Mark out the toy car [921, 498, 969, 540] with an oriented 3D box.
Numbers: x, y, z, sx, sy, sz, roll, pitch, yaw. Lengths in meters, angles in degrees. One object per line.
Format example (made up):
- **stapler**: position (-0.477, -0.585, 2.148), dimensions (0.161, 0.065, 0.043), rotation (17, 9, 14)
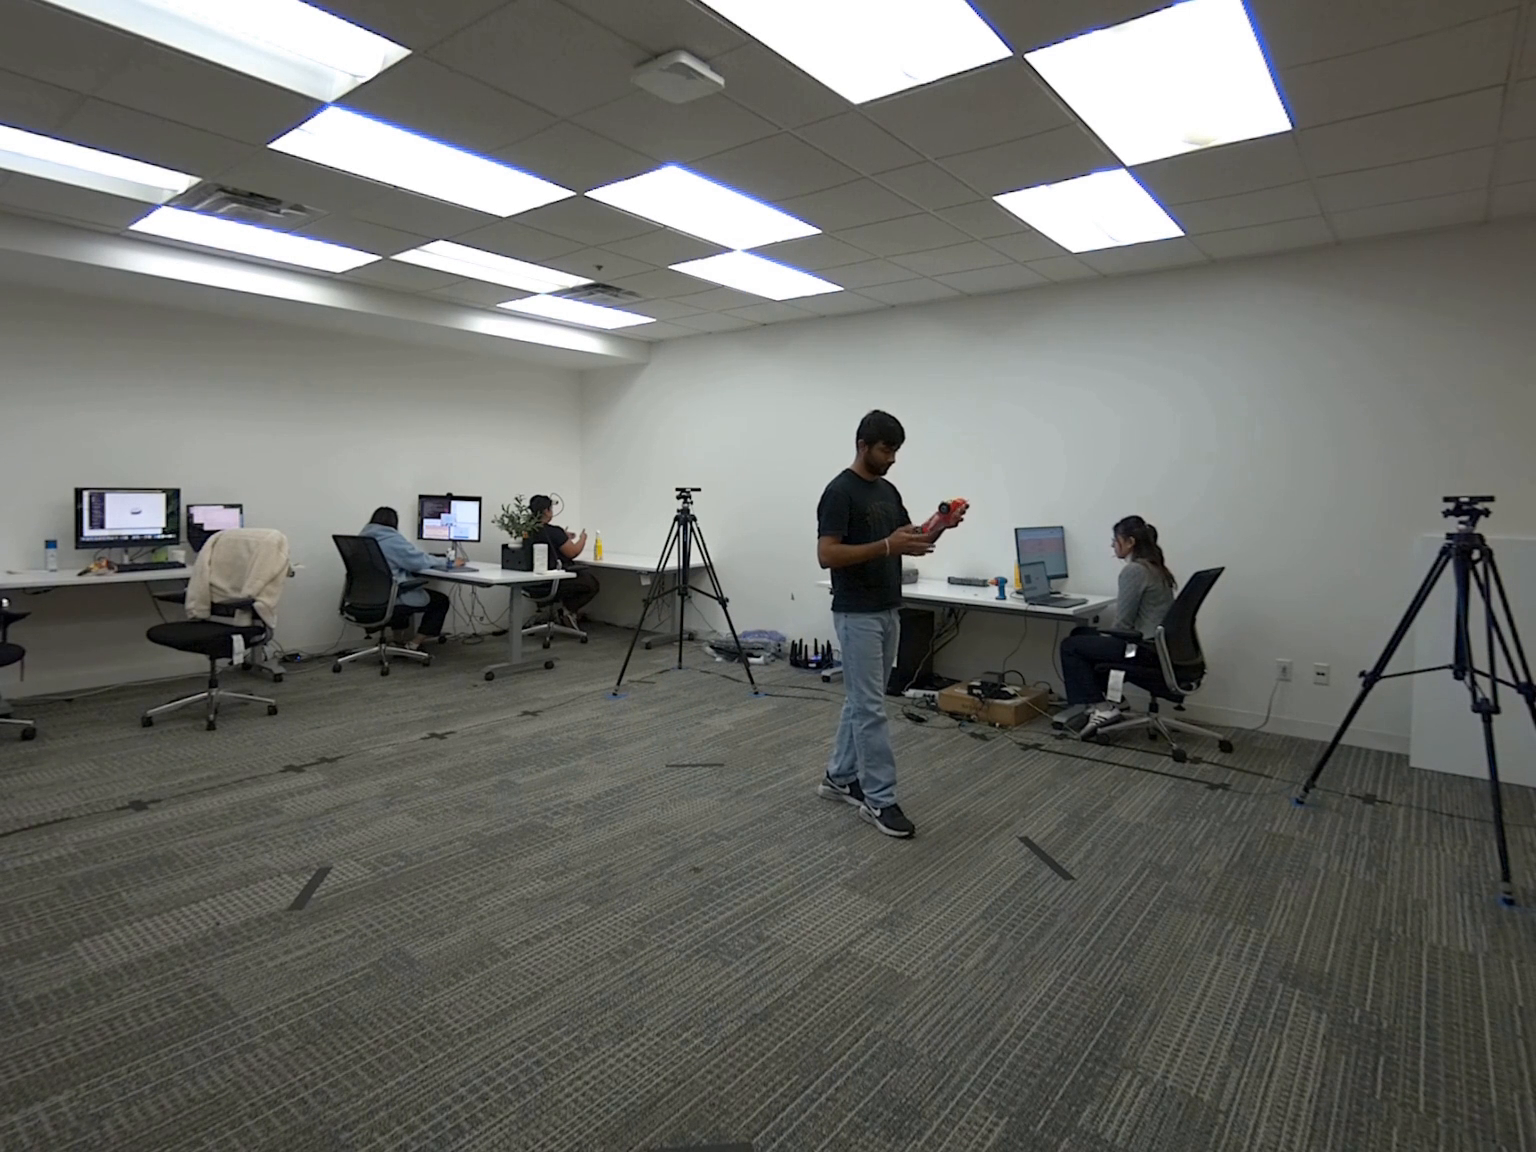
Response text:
- **toy car**: position (0.691, -0.247, 3.460), dimensions (0.257, 0.084, 0.127), rotation (-33, -9, 30)
